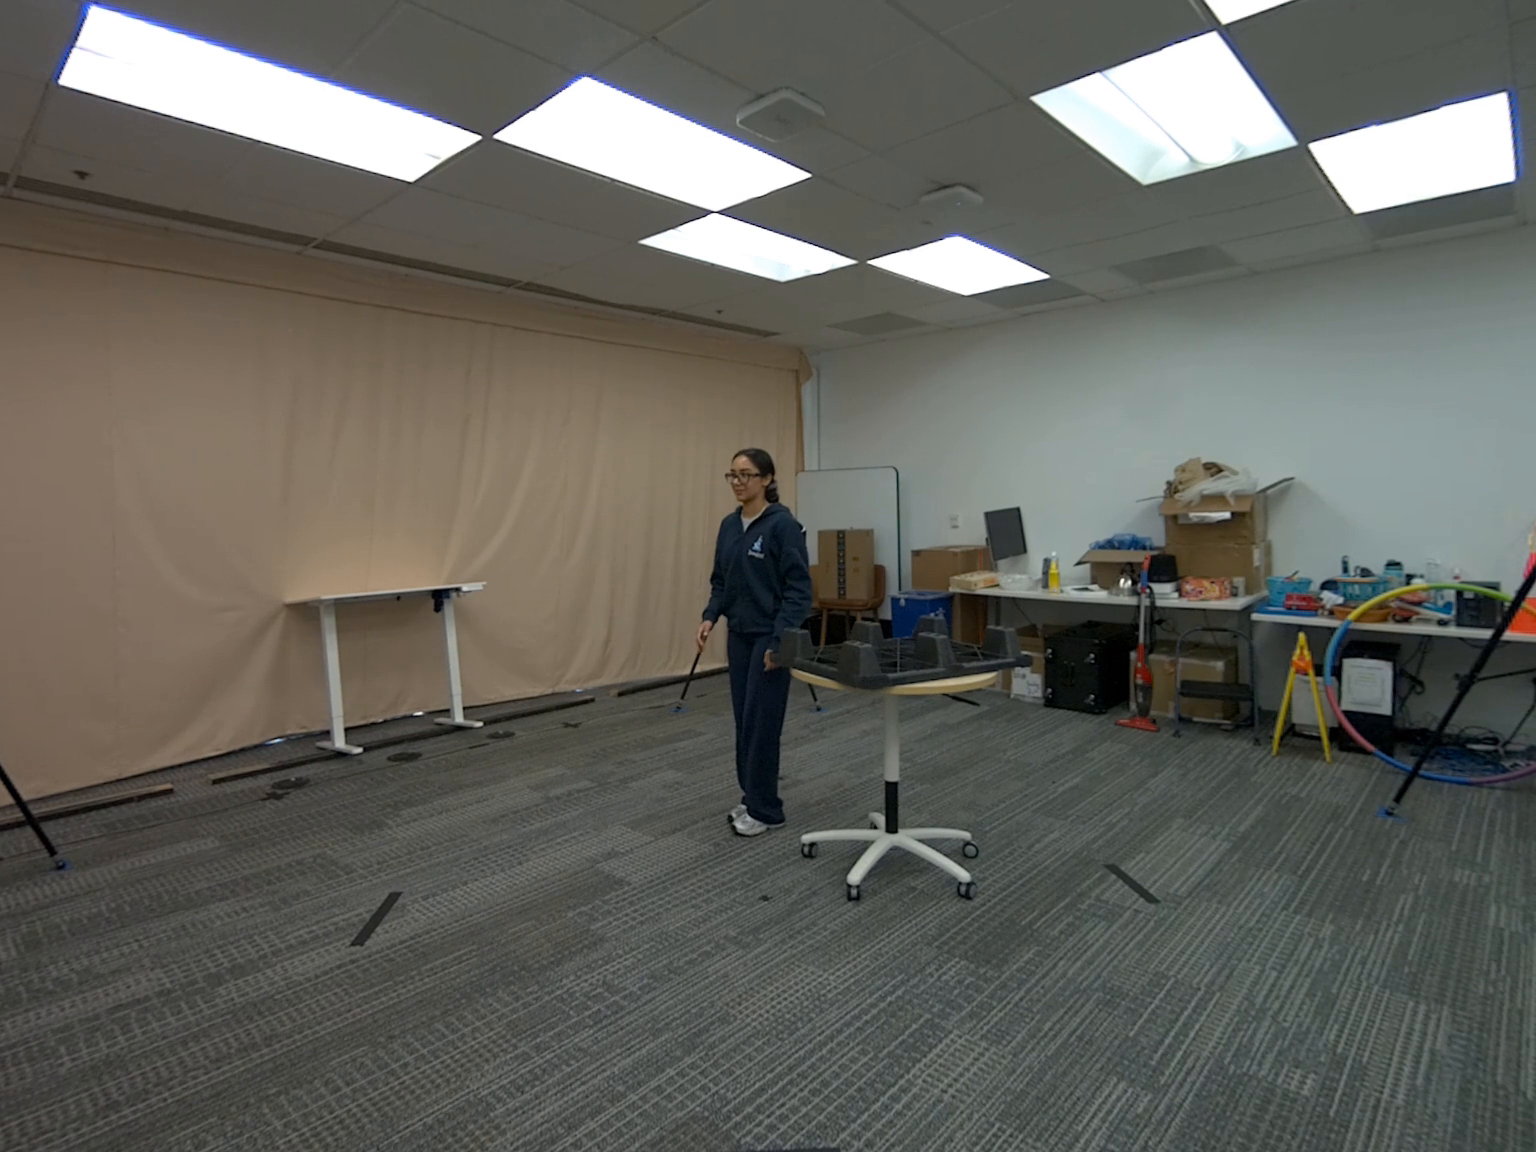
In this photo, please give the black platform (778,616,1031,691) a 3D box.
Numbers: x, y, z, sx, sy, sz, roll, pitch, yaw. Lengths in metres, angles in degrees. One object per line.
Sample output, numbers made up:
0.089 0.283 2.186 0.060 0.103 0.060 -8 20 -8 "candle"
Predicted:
0.498 0.271 3.171 0.784 0.143 0.623 -4 6 -30 "black platform"
